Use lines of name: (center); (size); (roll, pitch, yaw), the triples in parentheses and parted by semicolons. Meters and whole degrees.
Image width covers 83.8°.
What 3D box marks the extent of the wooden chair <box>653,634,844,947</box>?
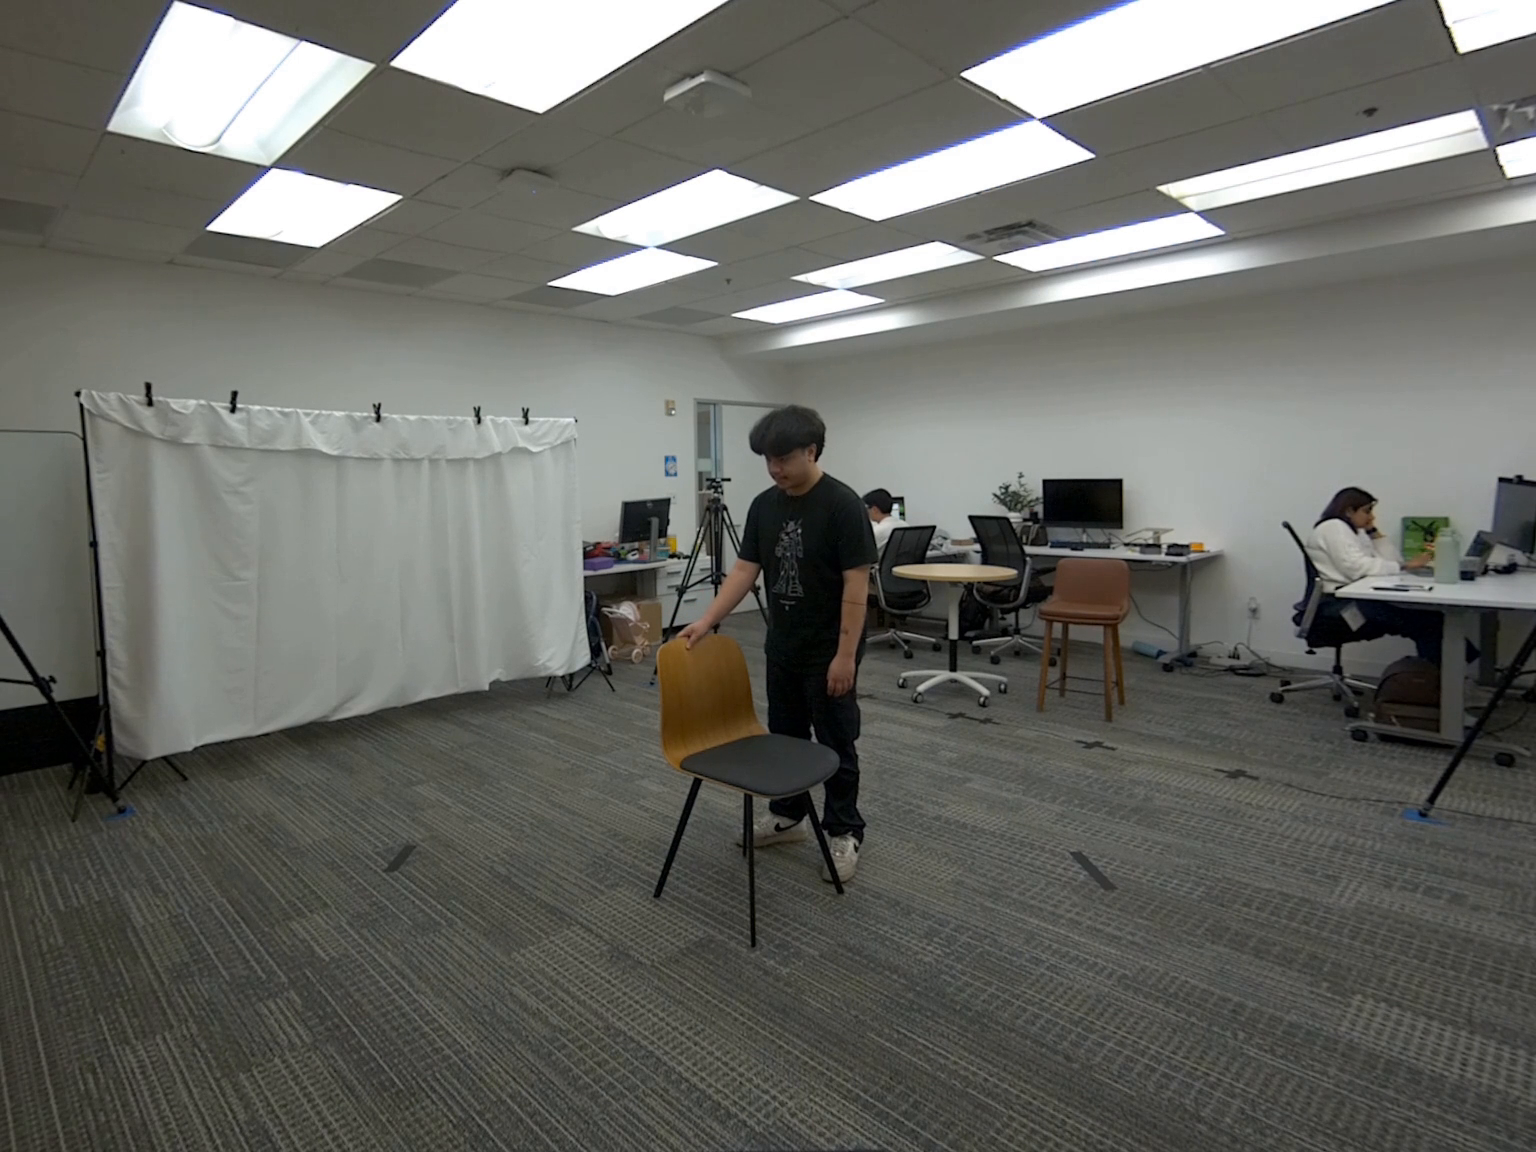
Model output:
wooden chair: (-0.066, 0.647, 2.820); (0.537, 0.877, 0.465); (-3, 1, 44)
